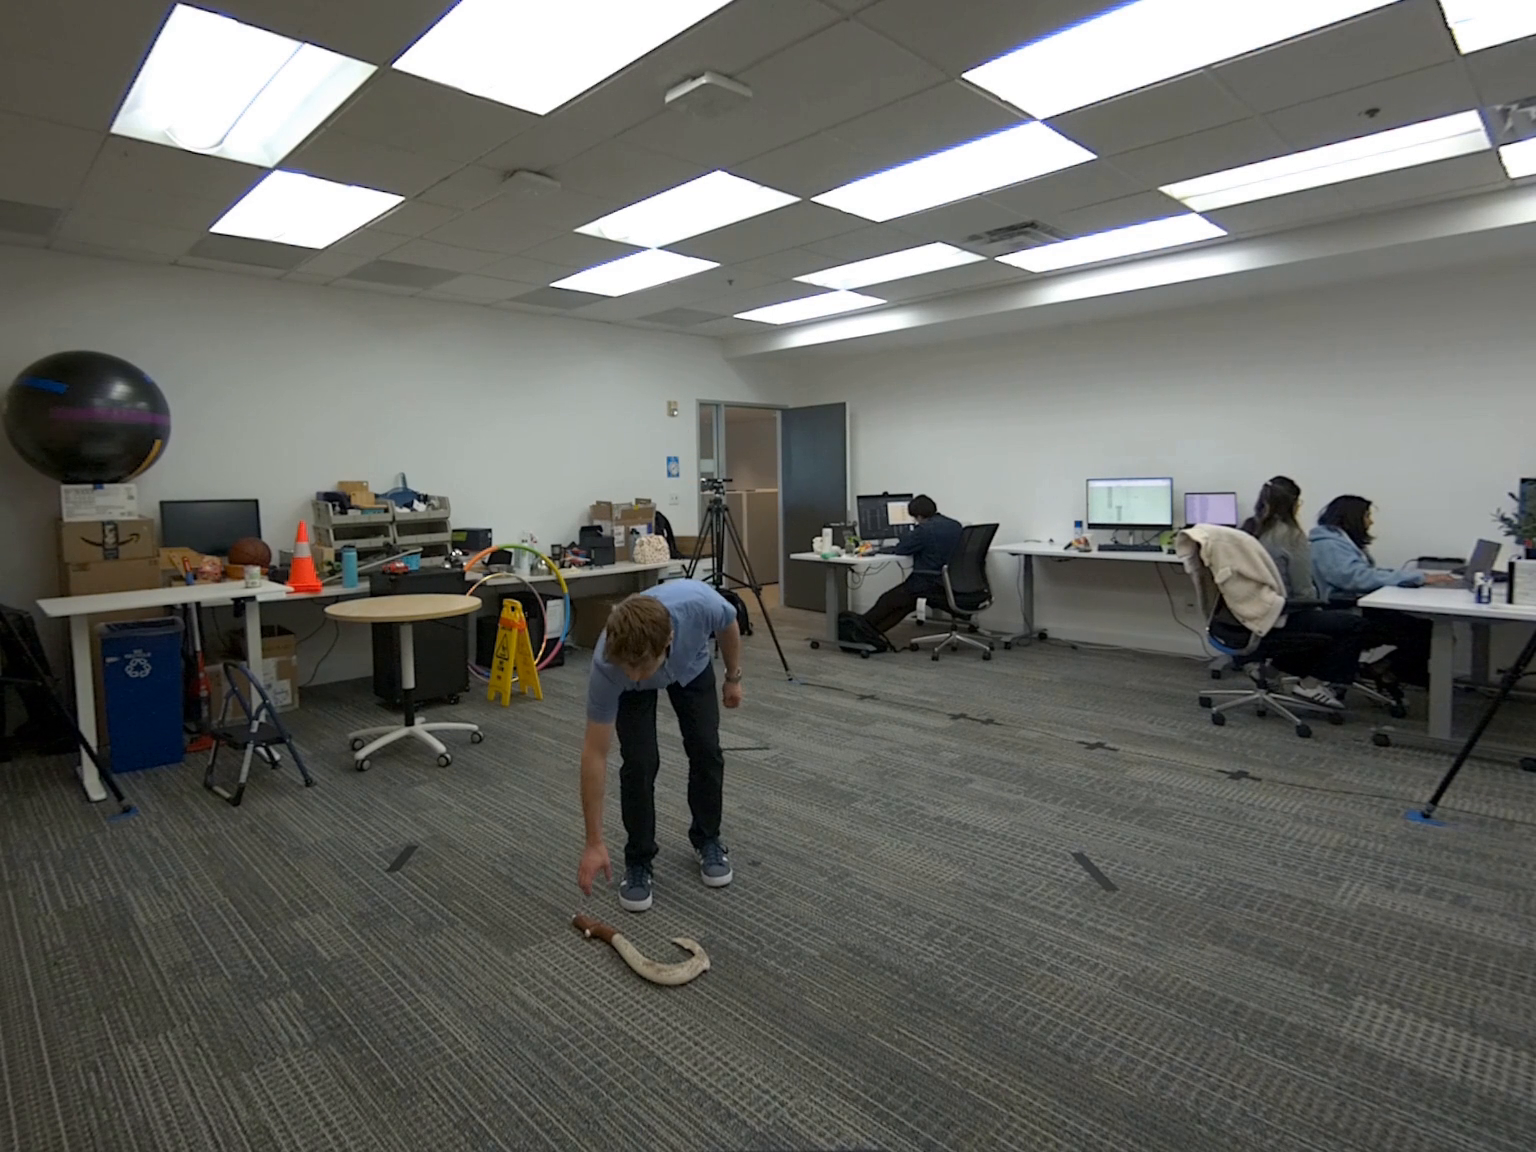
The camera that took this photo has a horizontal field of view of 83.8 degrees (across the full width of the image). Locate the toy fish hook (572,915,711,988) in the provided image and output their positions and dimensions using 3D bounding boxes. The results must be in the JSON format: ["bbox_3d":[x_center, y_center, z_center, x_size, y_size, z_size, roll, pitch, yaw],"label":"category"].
[{"bbox_3d":[-0.385,1.099,2.568,0.522,0.048,0.218,6,2,42],"label":"toy fish hook"}]
